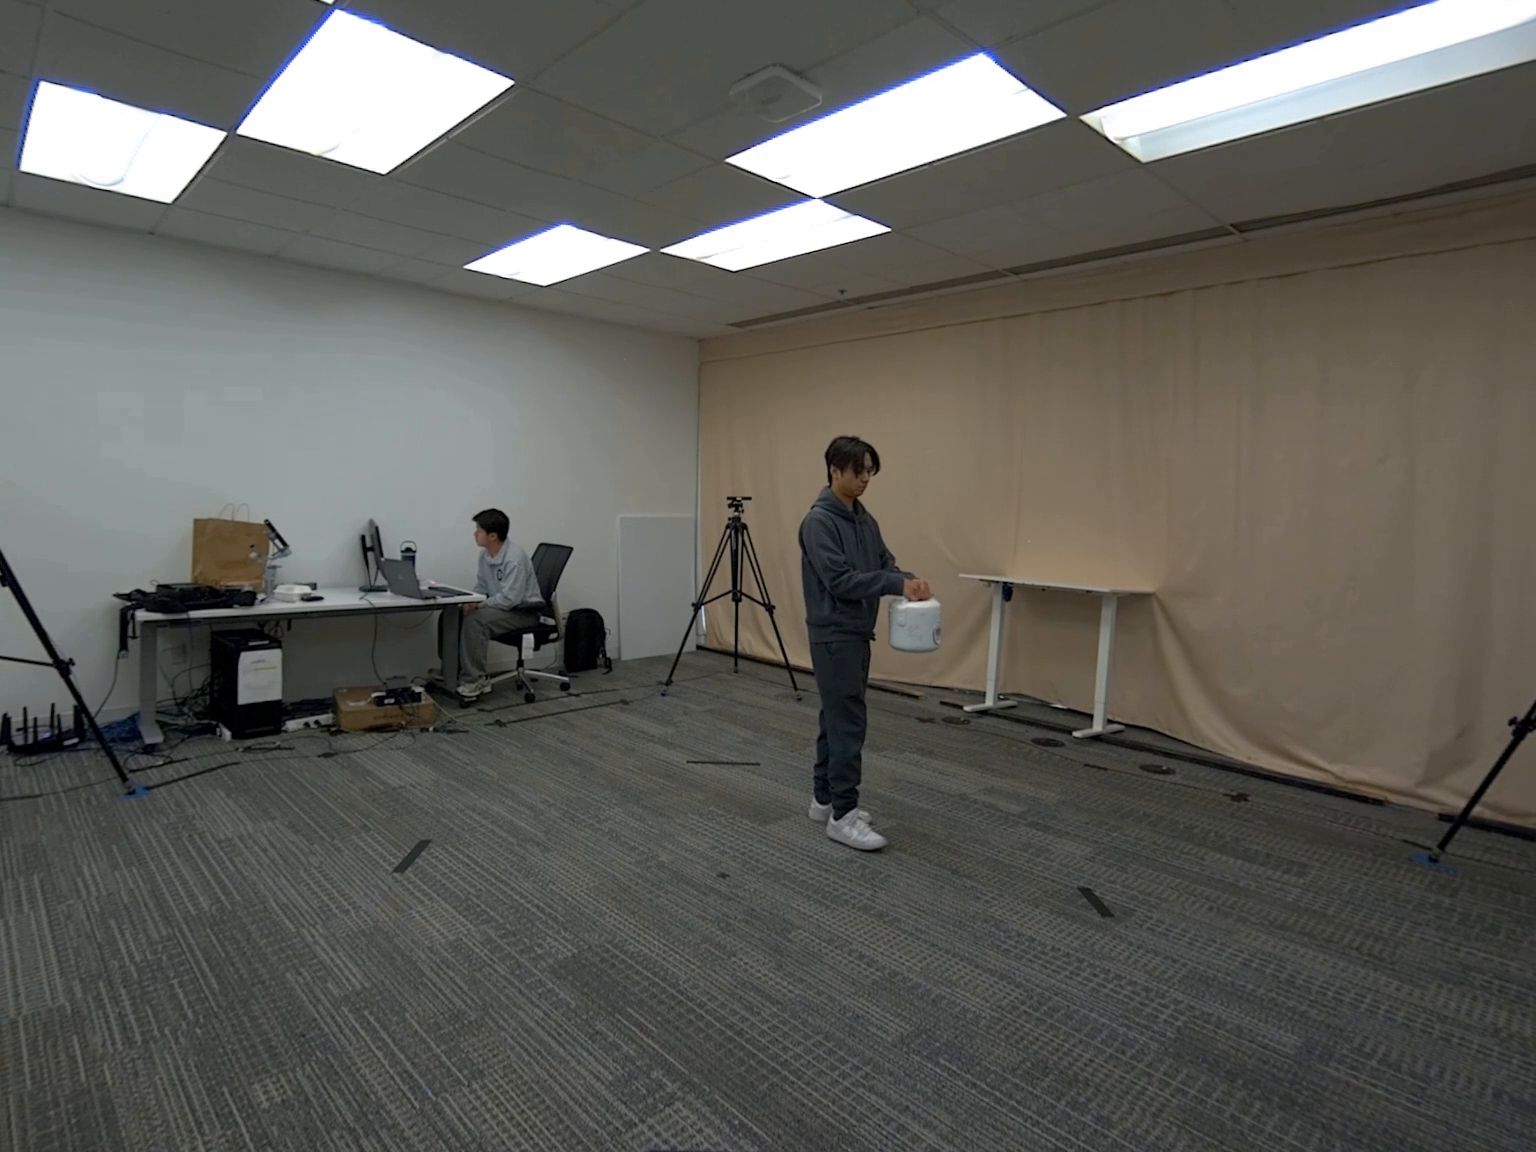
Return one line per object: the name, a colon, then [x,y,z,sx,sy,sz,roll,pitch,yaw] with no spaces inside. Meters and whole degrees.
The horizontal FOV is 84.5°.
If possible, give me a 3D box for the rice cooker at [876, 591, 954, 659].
rice cooker: [0.592,0.185,3.421,0.216,0.232,0.223,-6,6,-45]
